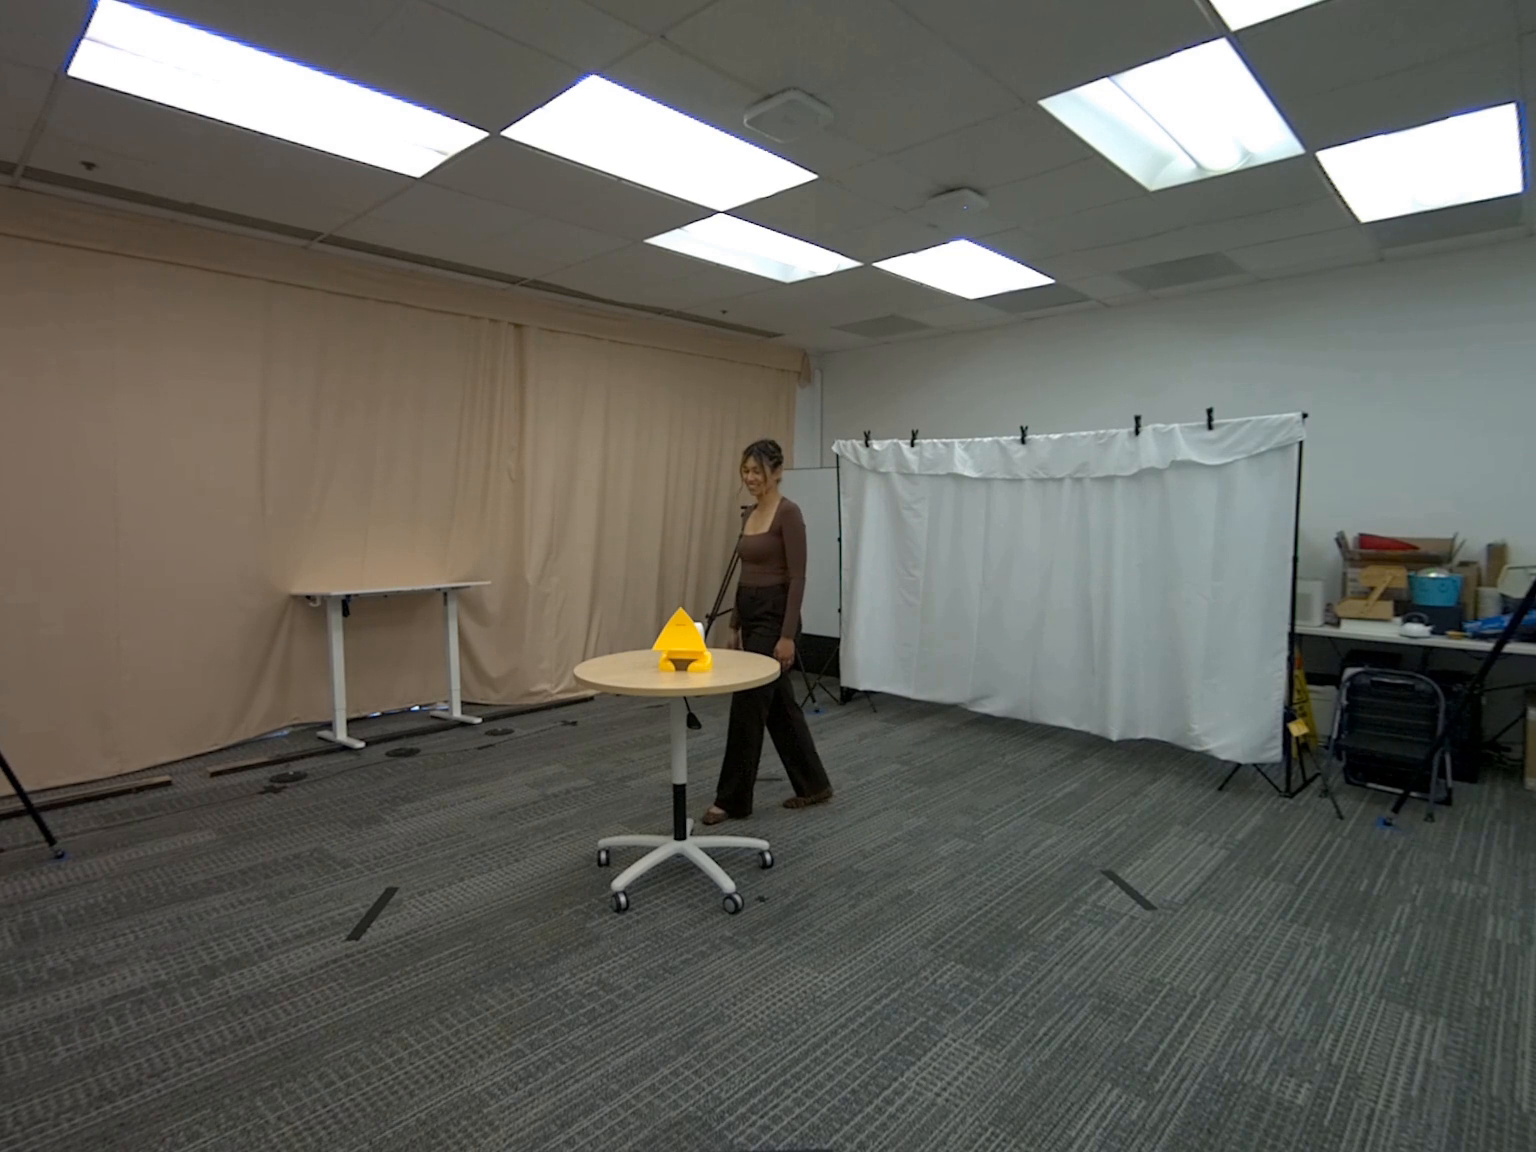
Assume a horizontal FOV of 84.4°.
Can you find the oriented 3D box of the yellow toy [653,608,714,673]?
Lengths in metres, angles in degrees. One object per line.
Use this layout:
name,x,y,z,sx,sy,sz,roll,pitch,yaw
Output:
yellow toy,-0.305,0.223,3.108,0.207,0.230,0.191,0,4,10
